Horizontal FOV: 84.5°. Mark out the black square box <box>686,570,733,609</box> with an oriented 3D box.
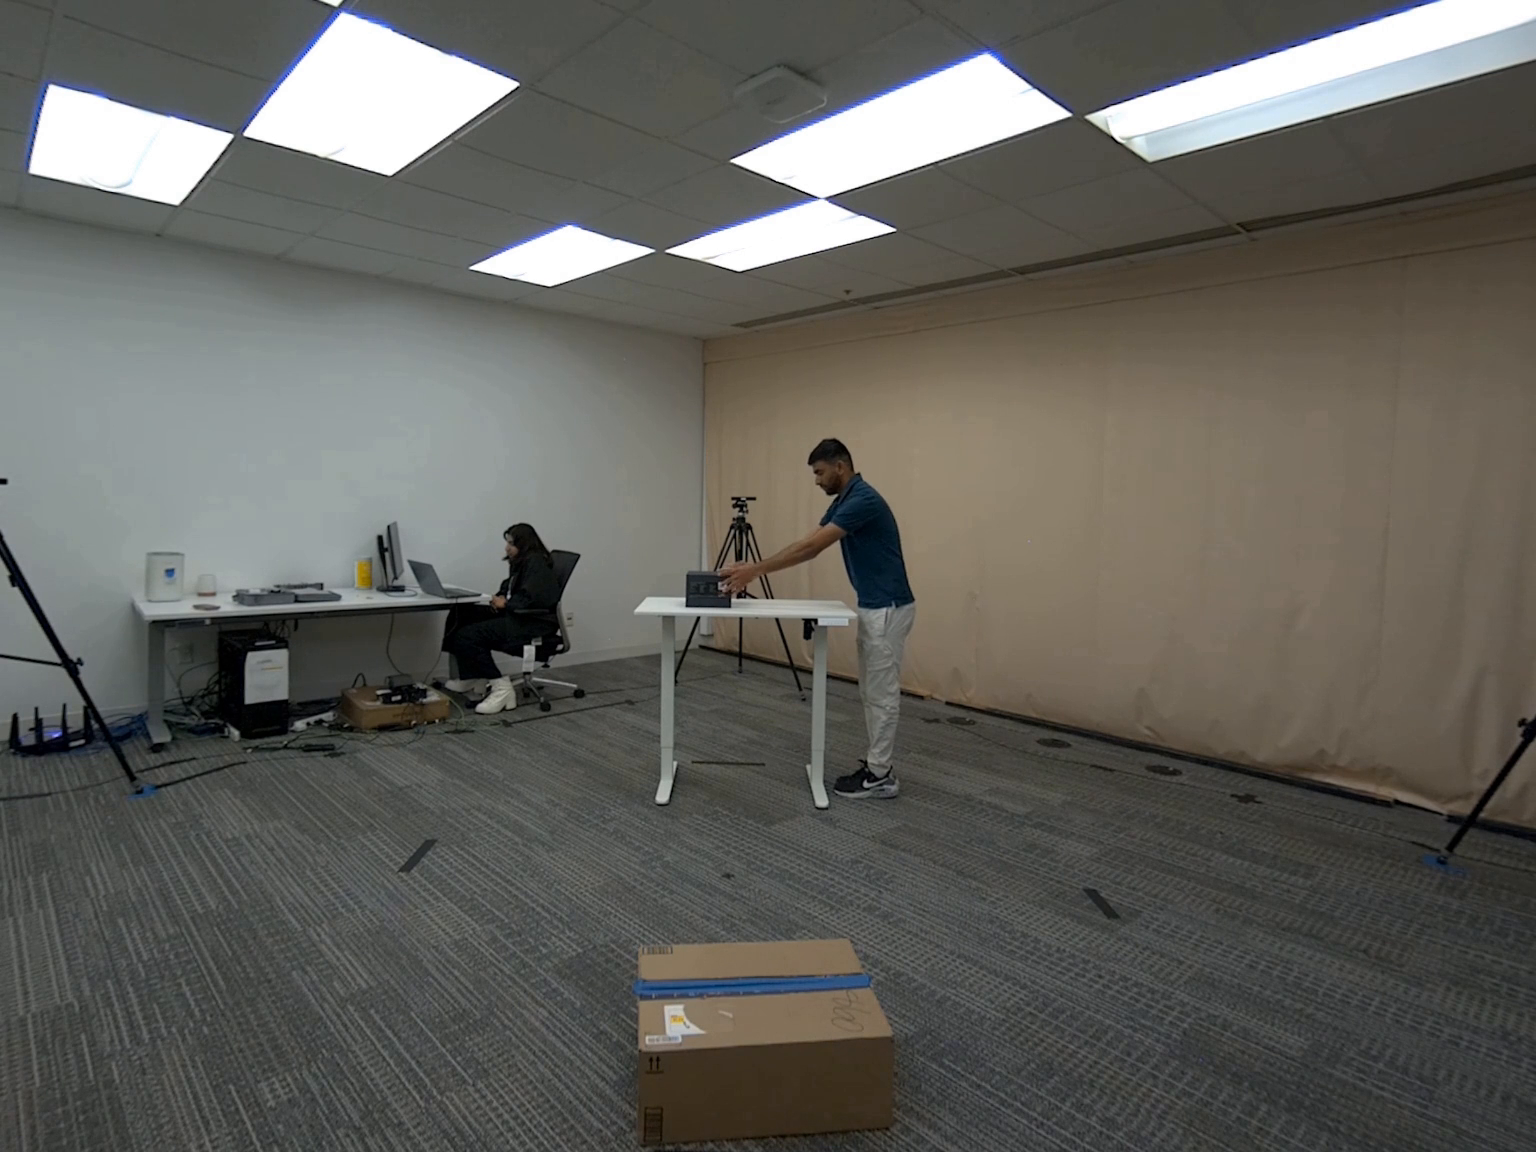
[{"bbox_3d":[-0.282,0.060,4.056,0.216,0.155,0.229,1,4,-3],"label":"black square box"}]
